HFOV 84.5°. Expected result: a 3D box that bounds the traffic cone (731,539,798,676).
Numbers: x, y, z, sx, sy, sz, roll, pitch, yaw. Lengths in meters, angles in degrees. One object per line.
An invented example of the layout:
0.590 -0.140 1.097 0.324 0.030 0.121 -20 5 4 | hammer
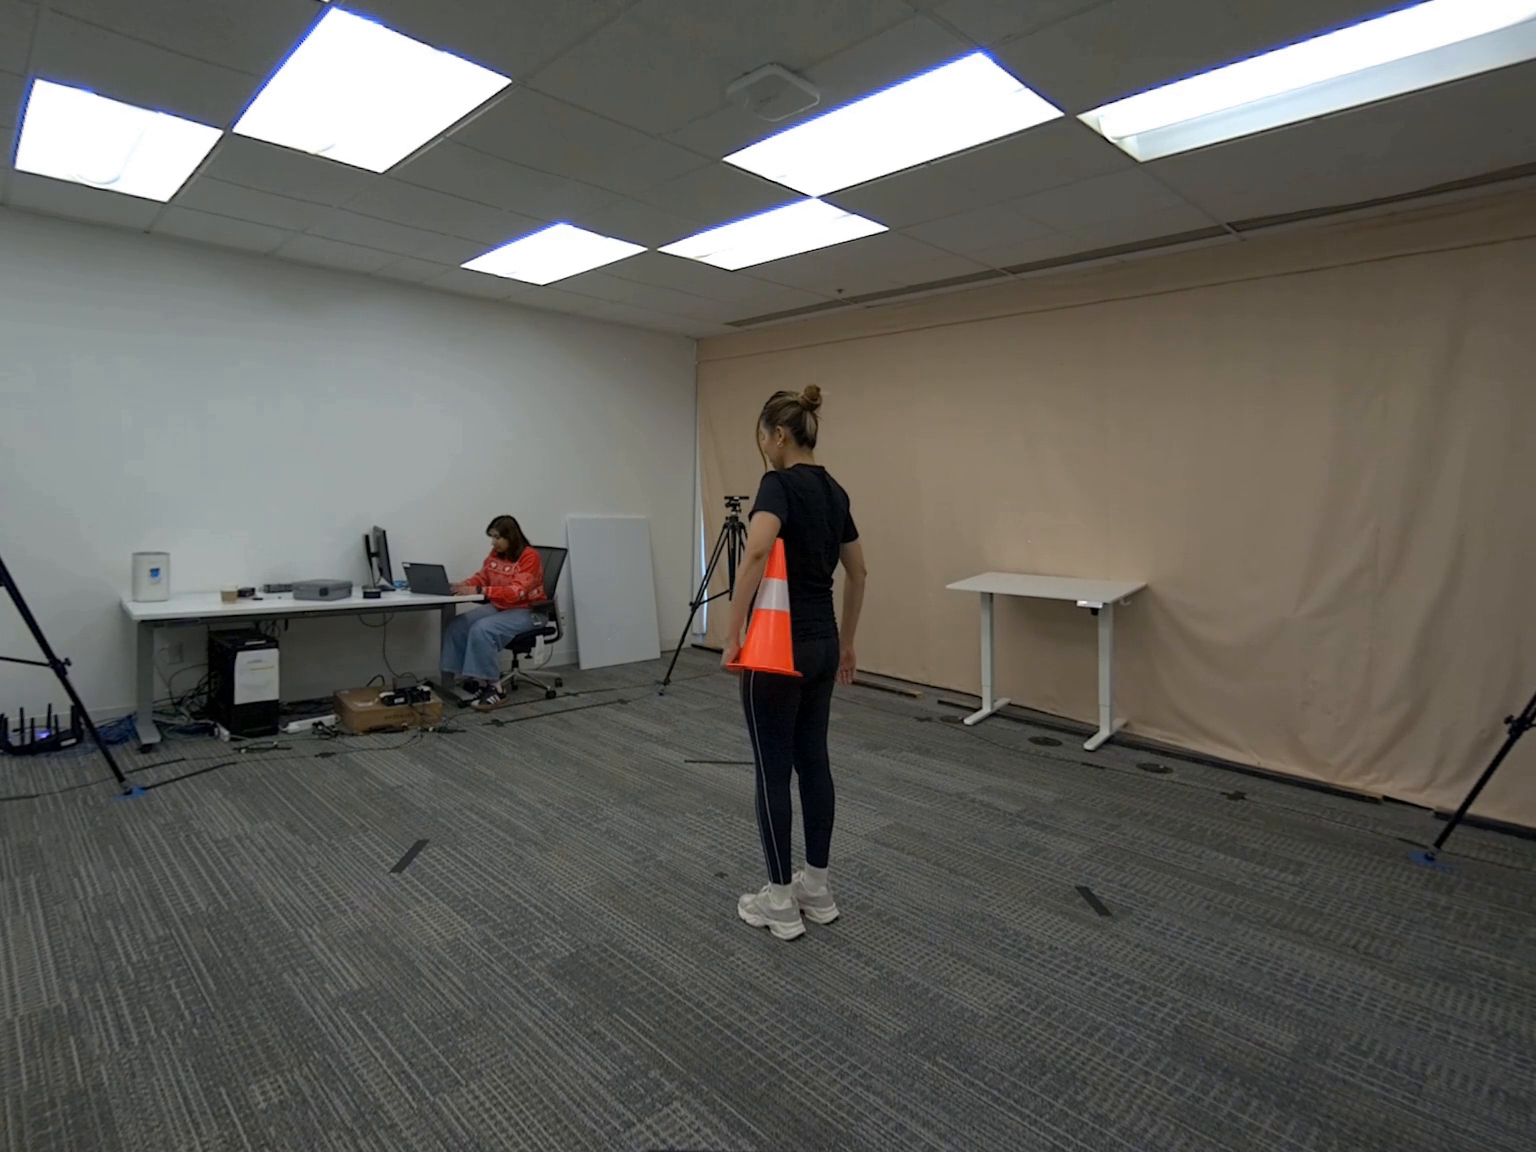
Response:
0.001 0.085 2.431 0.203 0.386 0.204 7 -10 -2 | traffic cone
